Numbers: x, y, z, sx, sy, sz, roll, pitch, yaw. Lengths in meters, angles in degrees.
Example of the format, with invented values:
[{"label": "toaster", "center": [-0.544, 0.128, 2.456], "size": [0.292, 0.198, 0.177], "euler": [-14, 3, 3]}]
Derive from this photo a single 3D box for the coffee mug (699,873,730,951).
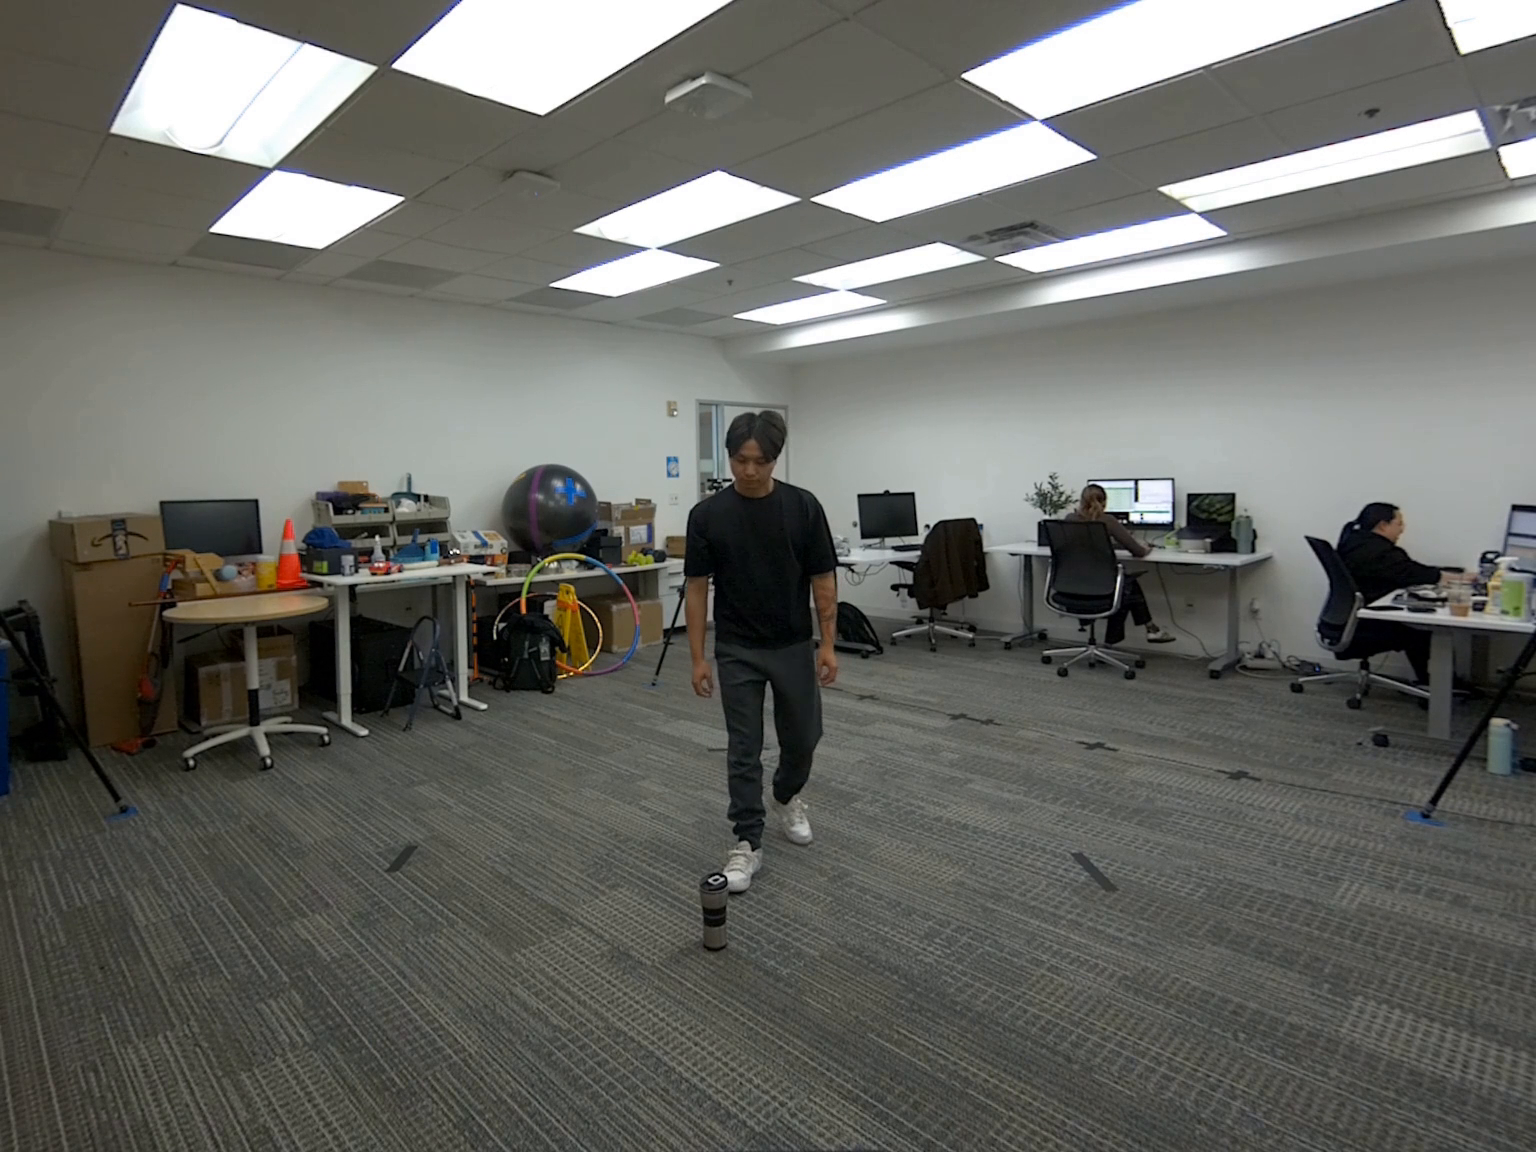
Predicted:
[{"label": "coffee mug", "center": [-0.141, 1.013, 2.571], "size": [0.090, 0.201, 0.119], "euler": [1, 10, 45]}]
